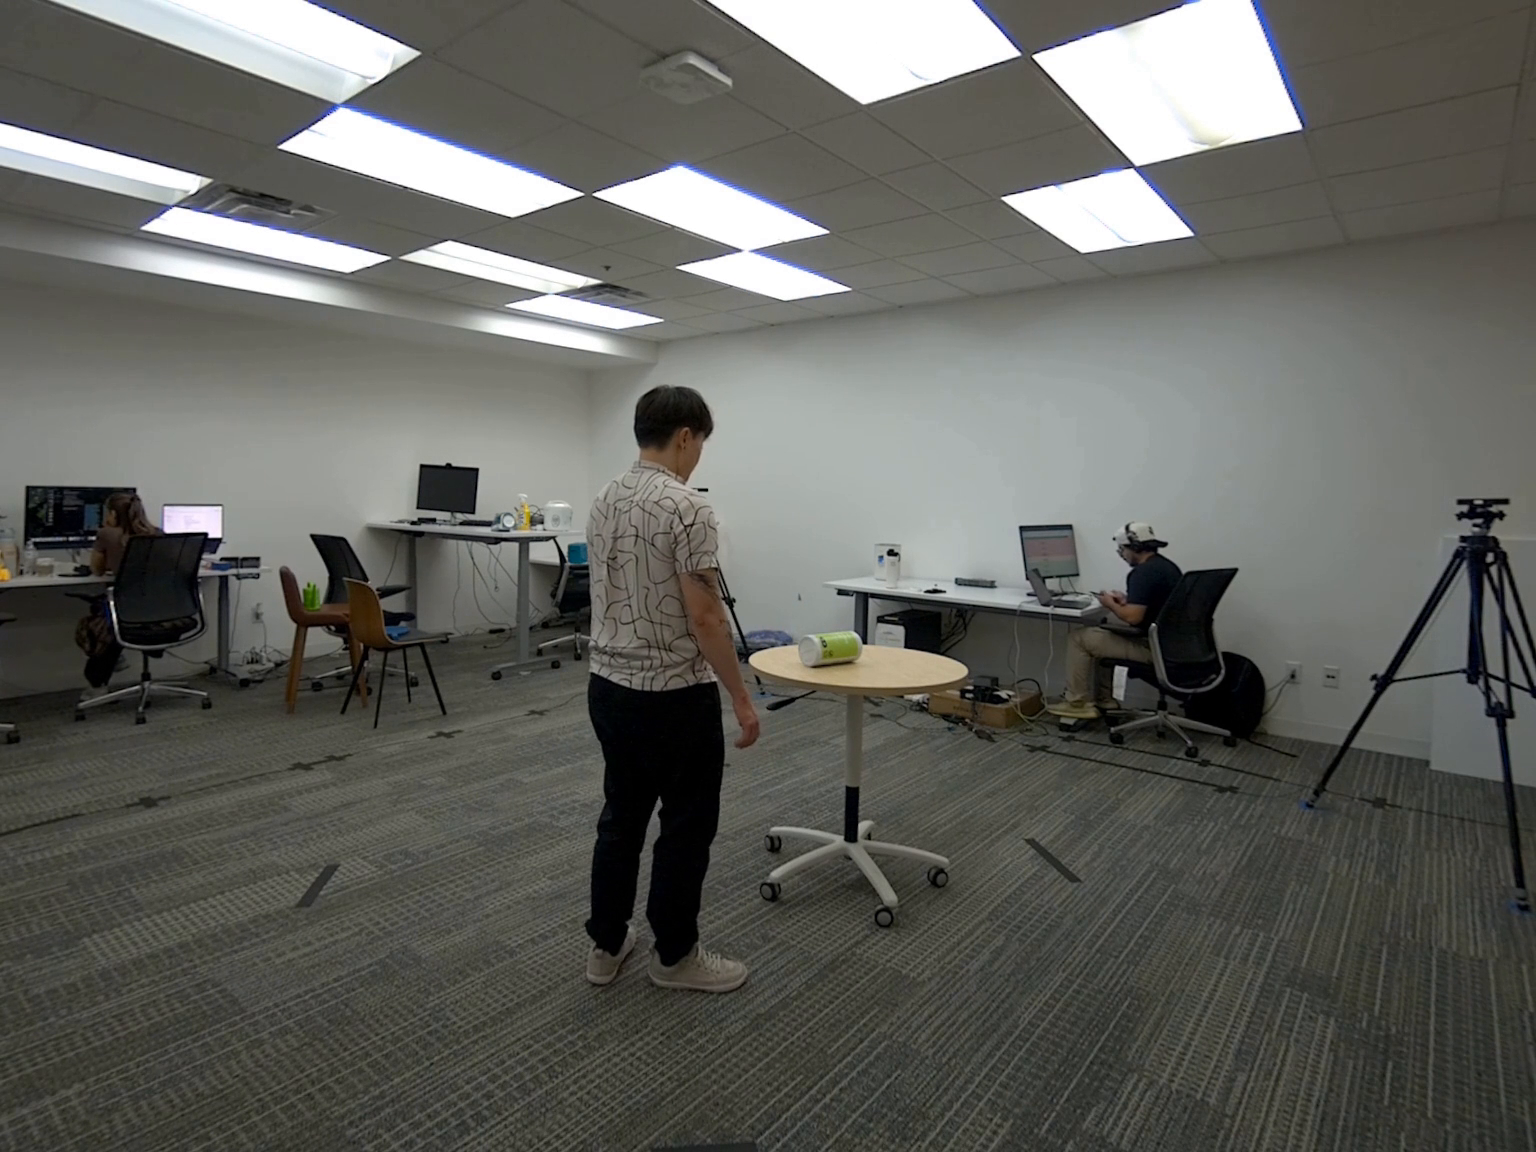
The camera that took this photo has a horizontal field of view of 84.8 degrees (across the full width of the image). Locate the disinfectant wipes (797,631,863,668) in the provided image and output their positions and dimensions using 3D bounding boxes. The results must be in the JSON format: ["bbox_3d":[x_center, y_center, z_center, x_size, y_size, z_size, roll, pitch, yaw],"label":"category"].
[{"bbox_3d":[0.207,0.250,2.994,0.211,0.117,0.121,-1,5,-34],"label":"disinfectant wipes"}]
